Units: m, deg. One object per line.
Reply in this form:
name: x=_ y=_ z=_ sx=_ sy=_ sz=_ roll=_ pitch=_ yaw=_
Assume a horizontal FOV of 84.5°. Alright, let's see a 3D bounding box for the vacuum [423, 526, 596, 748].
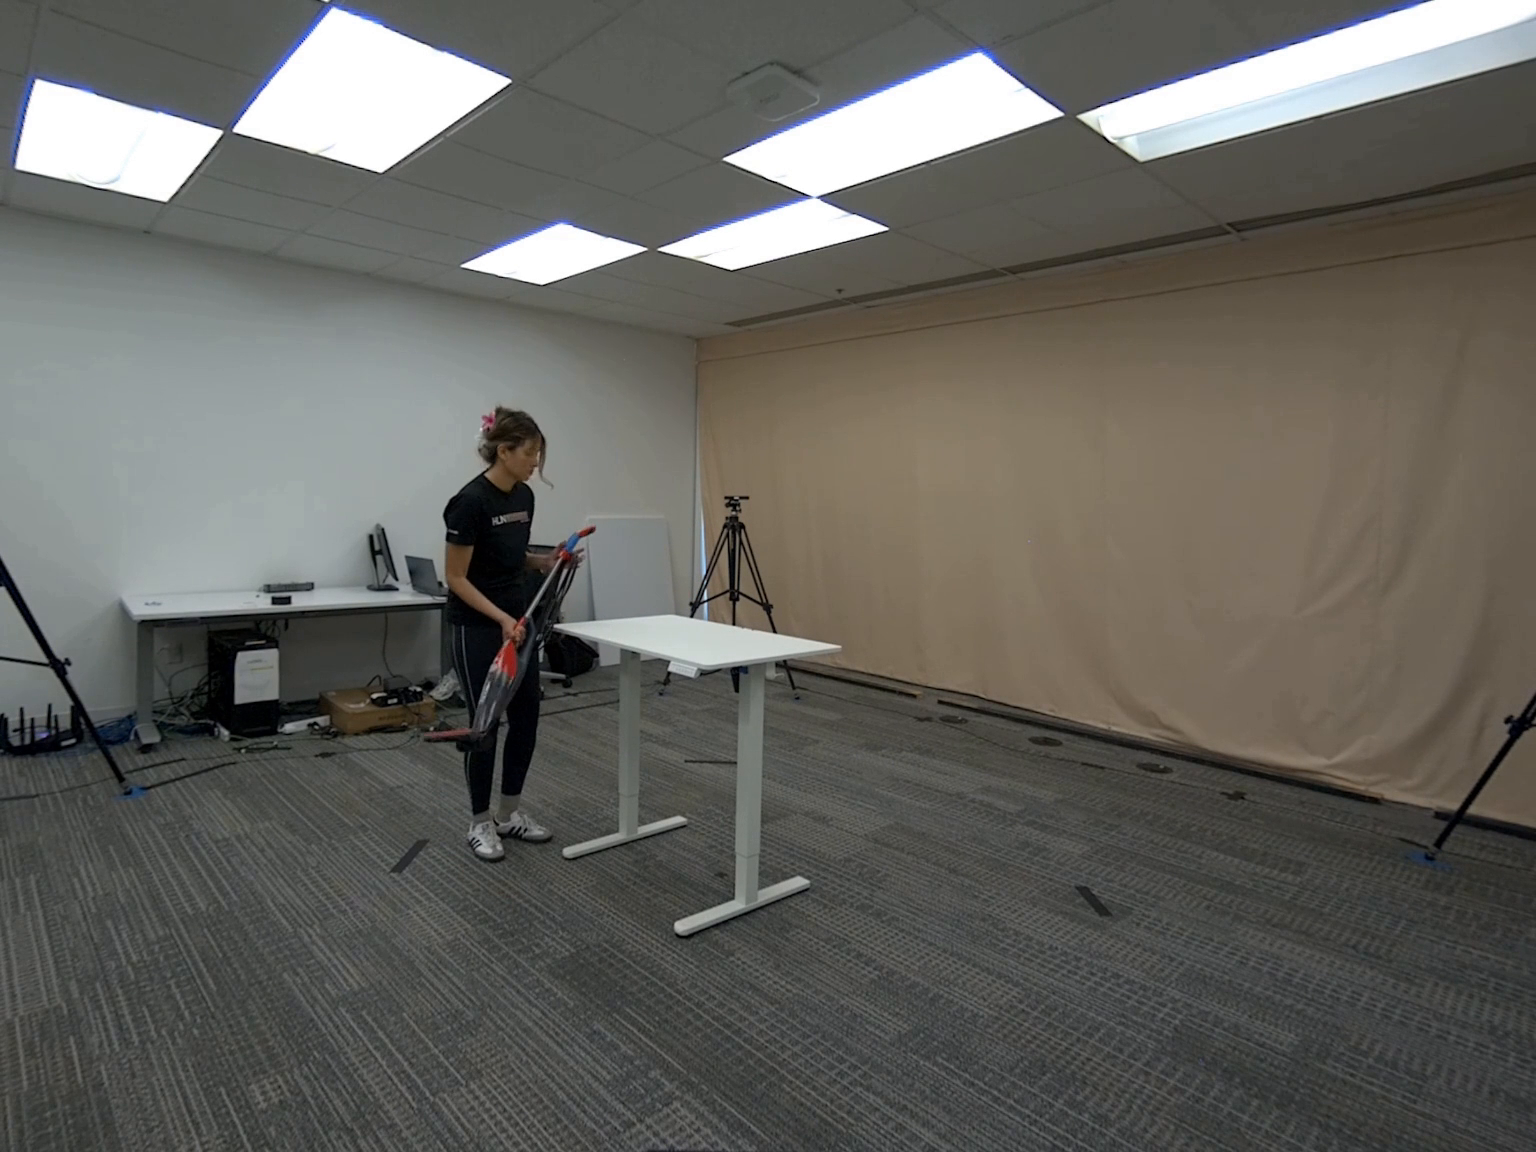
vacuum: x=-0.858 y=0.180 z=3.090 sx=0.257 sy=0.140 sz=1.059 roll=-11 pitch=40 yaw=36
